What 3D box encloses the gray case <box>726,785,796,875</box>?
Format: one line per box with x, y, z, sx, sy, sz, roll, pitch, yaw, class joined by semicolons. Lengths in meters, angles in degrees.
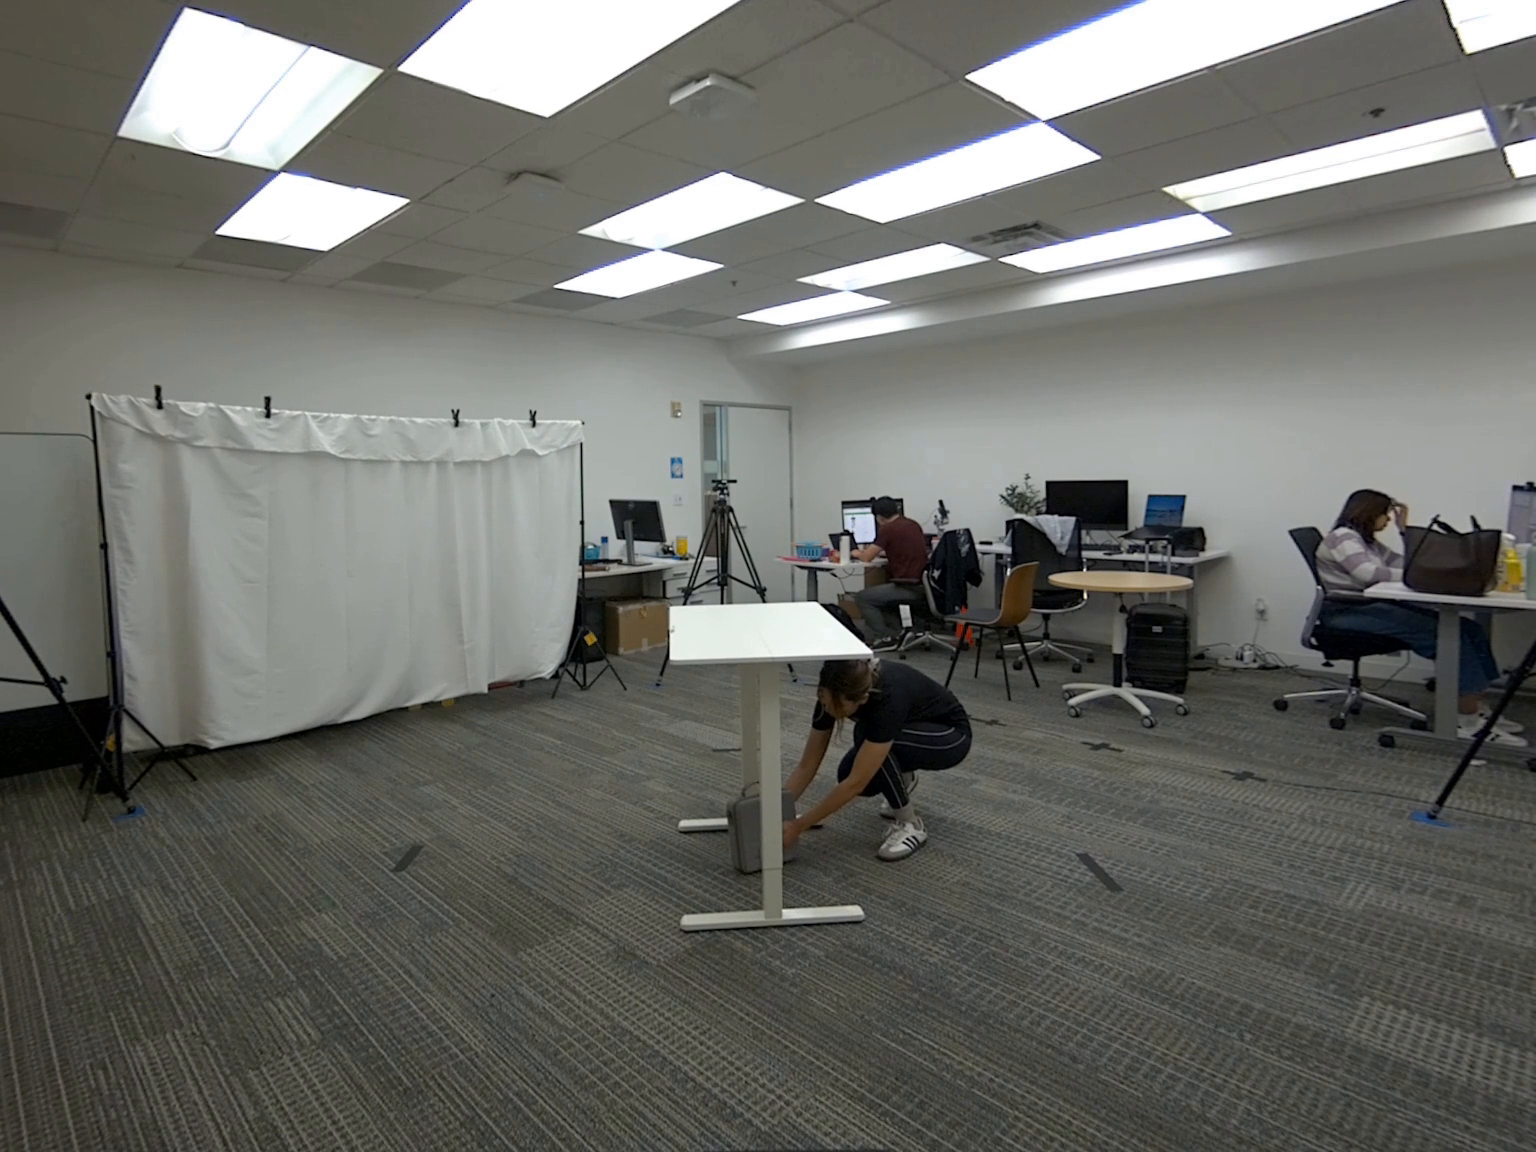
-0.025;0.918;3.106;0.251;0.262;0.106;-4;-5;-29;gray case
